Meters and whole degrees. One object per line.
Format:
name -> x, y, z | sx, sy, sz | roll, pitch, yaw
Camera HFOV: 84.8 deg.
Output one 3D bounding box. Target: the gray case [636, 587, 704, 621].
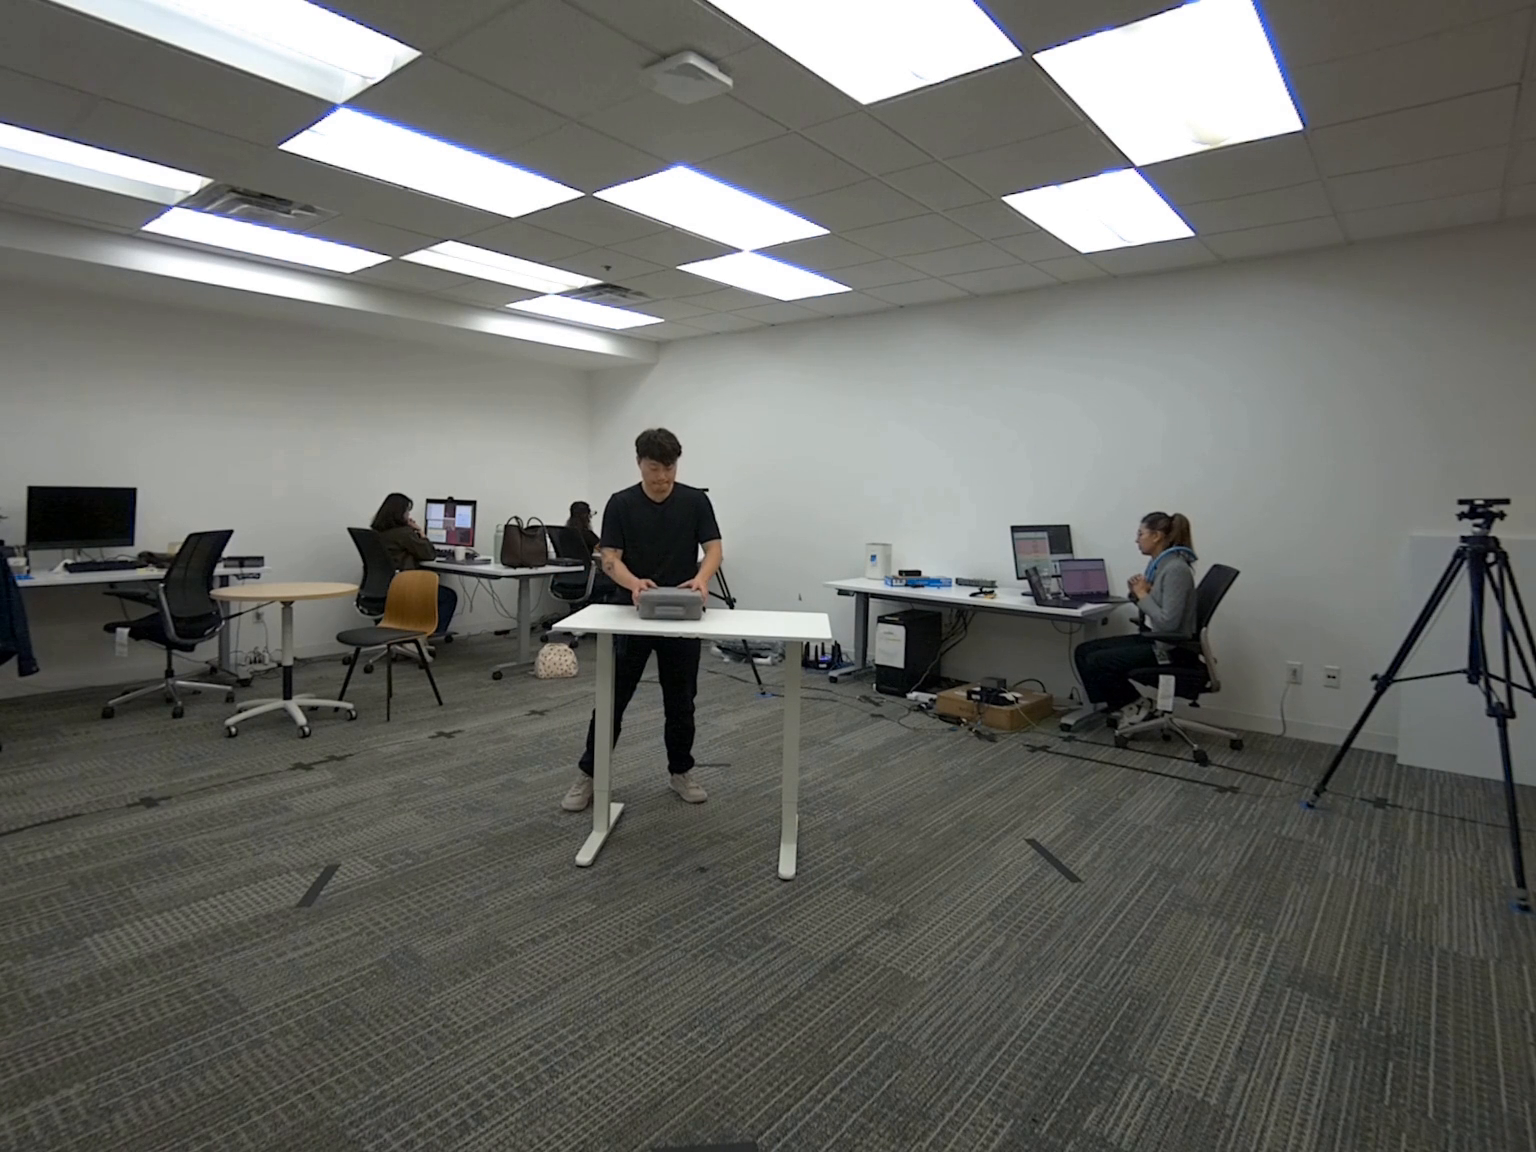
gray case -> -0.397, 0.106, 3.386 | 0.256, 0.104, 0.262 | 1, 5, -3
